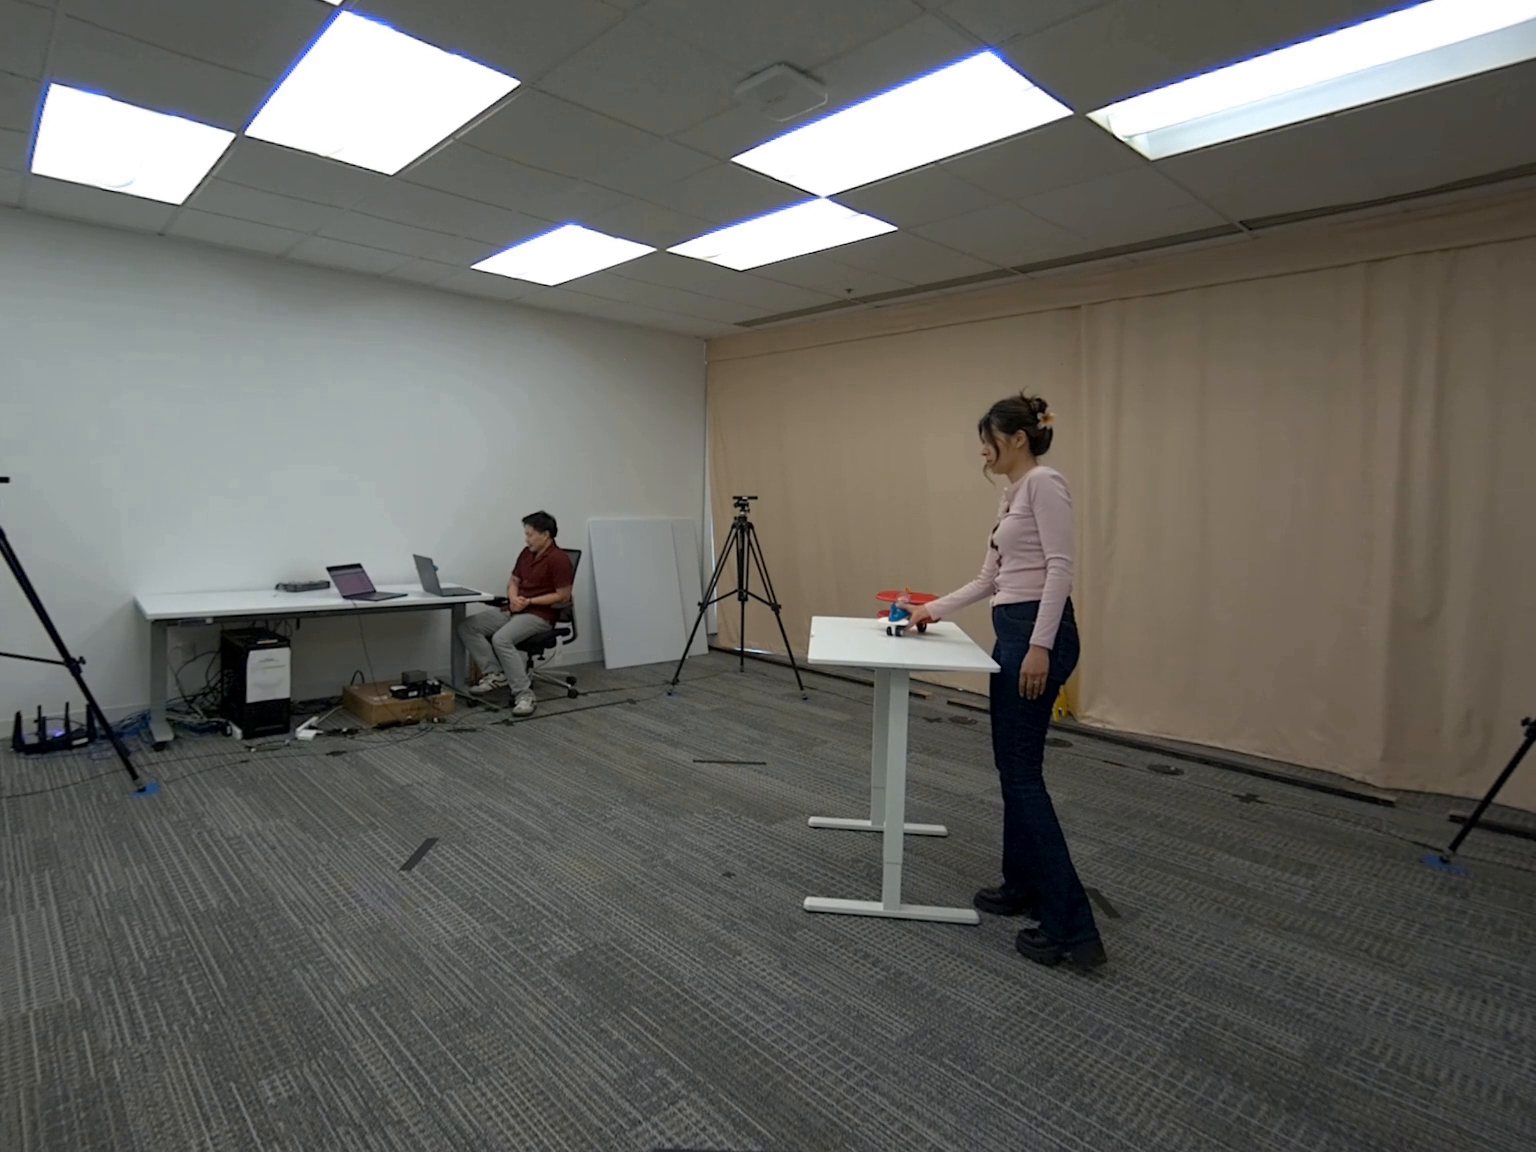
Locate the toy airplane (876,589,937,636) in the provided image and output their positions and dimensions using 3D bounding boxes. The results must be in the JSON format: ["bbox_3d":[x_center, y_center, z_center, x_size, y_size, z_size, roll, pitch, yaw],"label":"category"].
[{"bbox_3d":[0.542,0.148,3.270,0.252,0.156,0.259,2,4,3],"label":"toy airplane"}]
